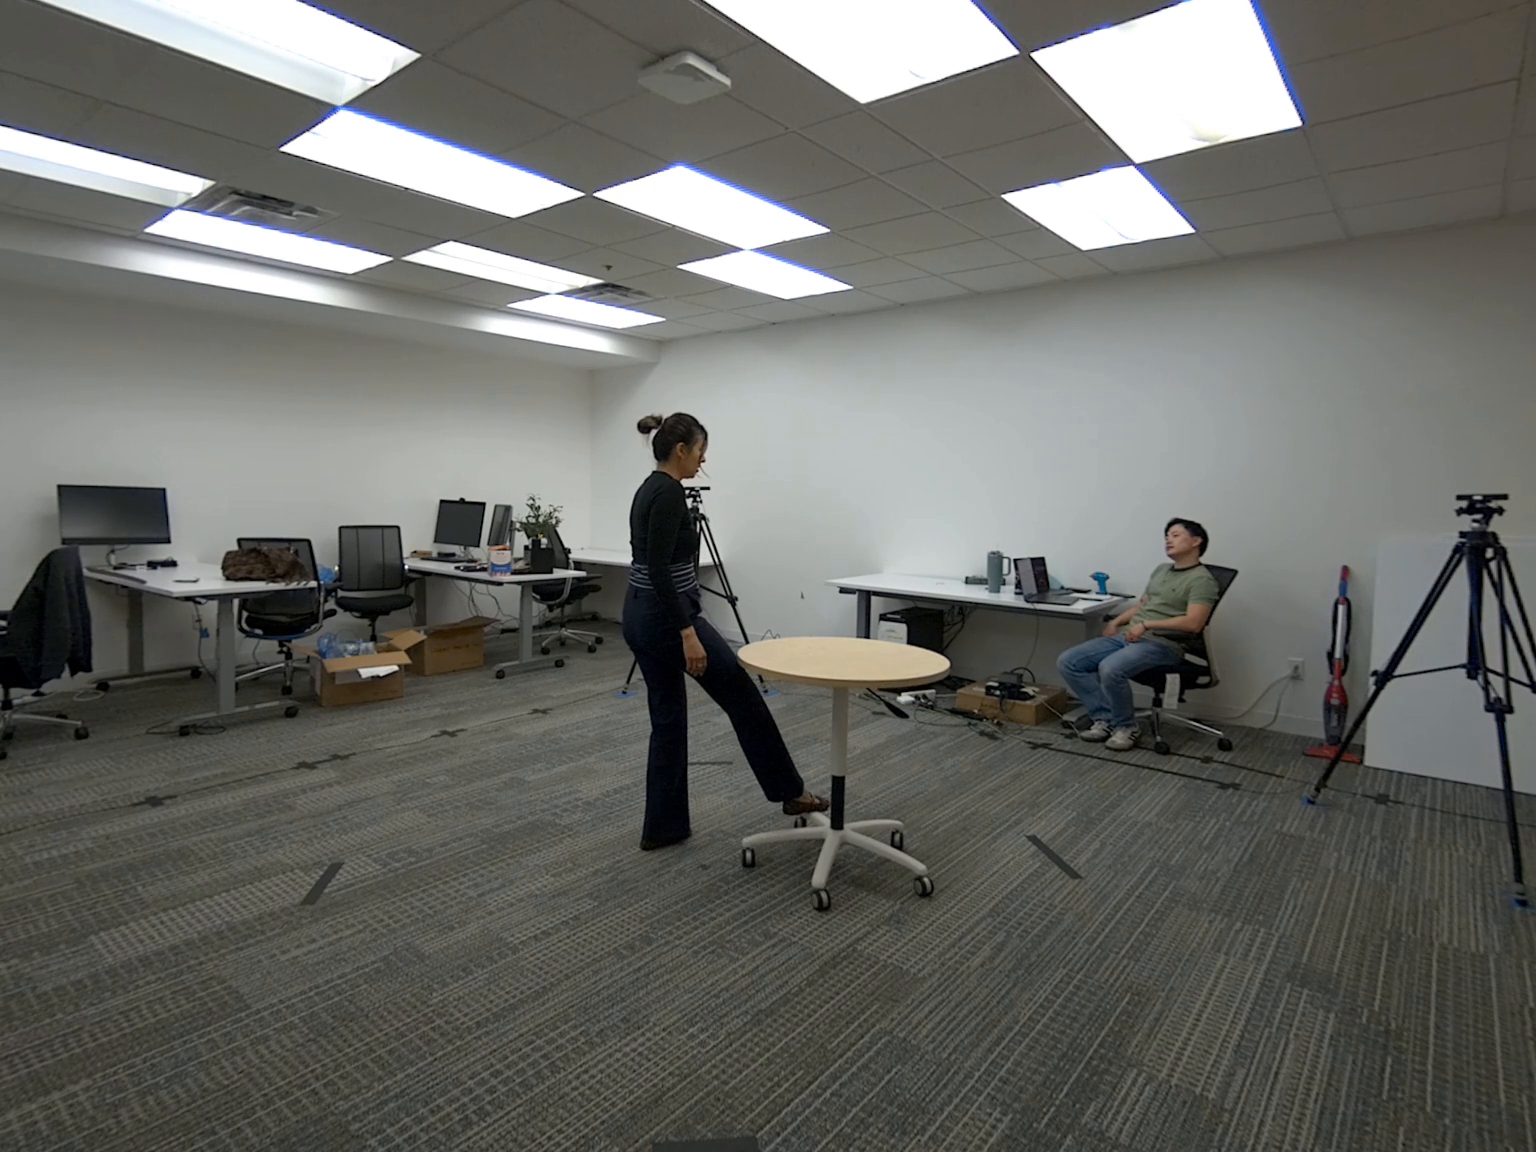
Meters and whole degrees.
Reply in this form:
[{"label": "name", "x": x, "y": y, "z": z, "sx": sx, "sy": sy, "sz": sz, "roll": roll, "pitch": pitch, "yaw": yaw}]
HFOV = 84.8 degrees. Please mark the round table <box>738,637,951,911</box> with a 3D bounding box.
[{"label": "round table", "x": 0.258, "y": 0.684, "z": 3.126, "sx": 0.763, "sy": 0.791, "sz": 0.768, "roll": 1, "pitch": 4, "yaw": -2}]
